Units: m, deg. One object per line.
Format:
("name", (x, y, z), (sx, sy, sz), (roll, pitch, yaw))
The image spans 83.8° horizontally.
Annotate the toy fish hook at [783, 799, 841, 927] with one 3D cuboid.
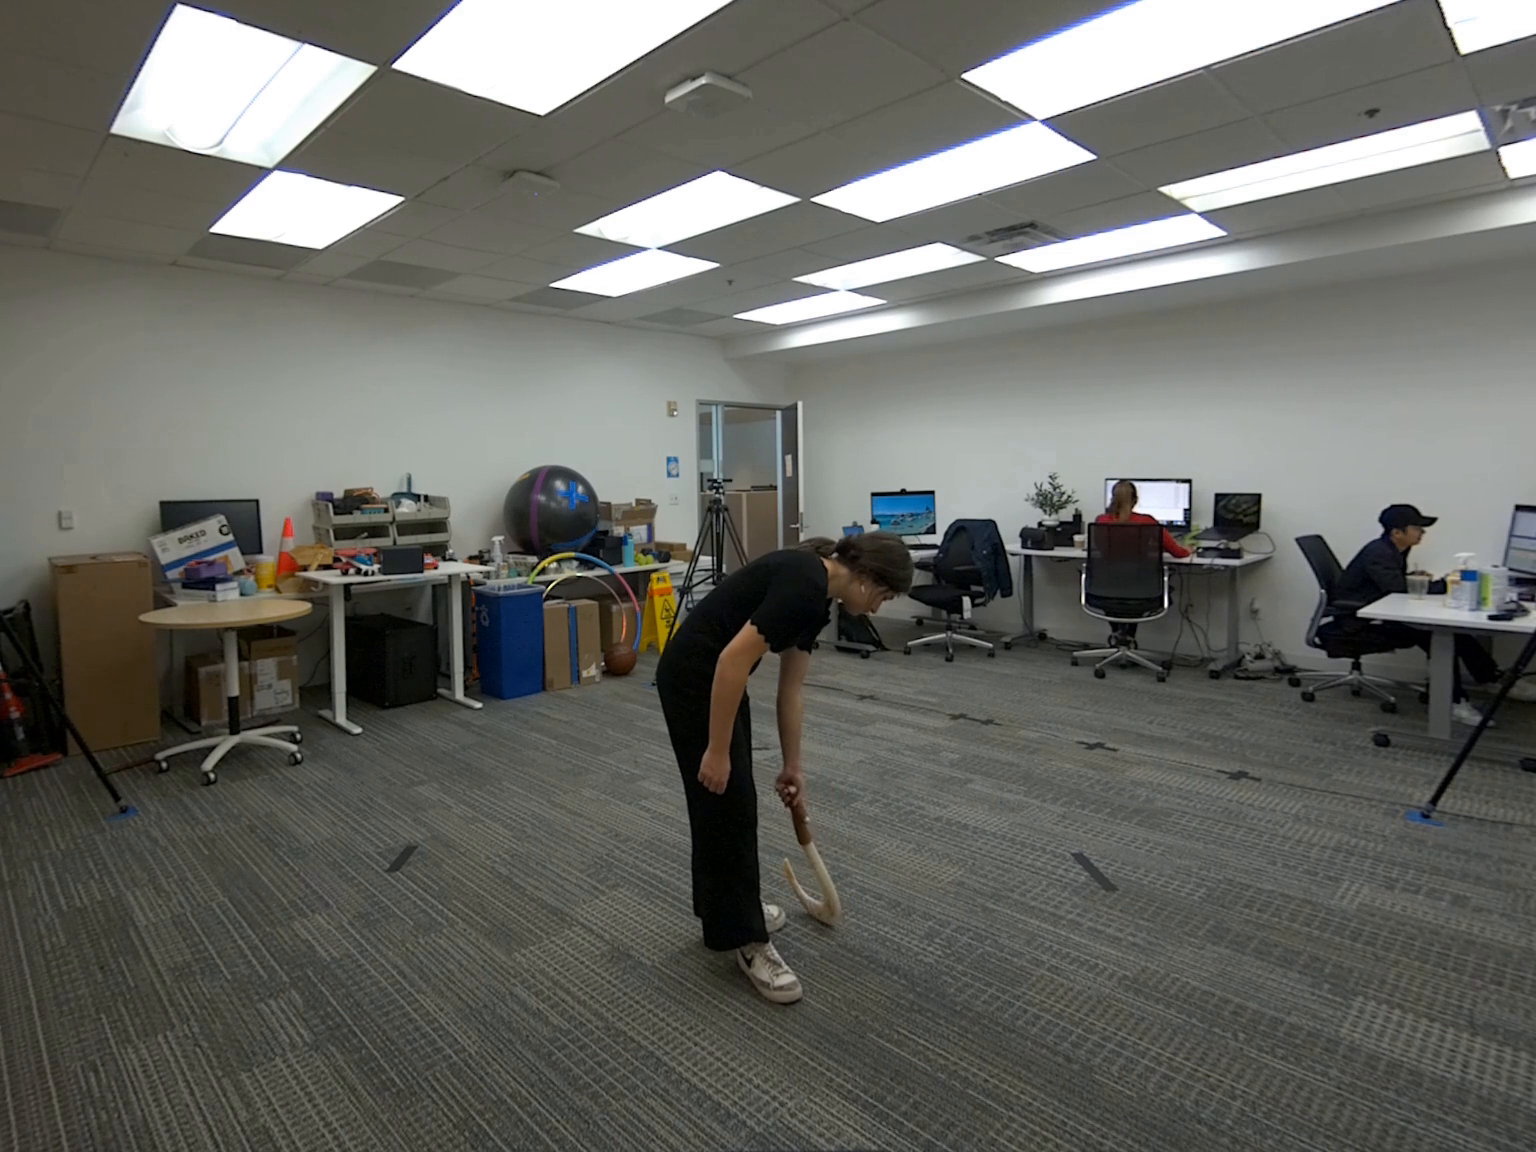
("toy fish hook", (0.102, 0.857, 2.650), (0.047, 0.499, 0.231), (-27, 16, -39))
